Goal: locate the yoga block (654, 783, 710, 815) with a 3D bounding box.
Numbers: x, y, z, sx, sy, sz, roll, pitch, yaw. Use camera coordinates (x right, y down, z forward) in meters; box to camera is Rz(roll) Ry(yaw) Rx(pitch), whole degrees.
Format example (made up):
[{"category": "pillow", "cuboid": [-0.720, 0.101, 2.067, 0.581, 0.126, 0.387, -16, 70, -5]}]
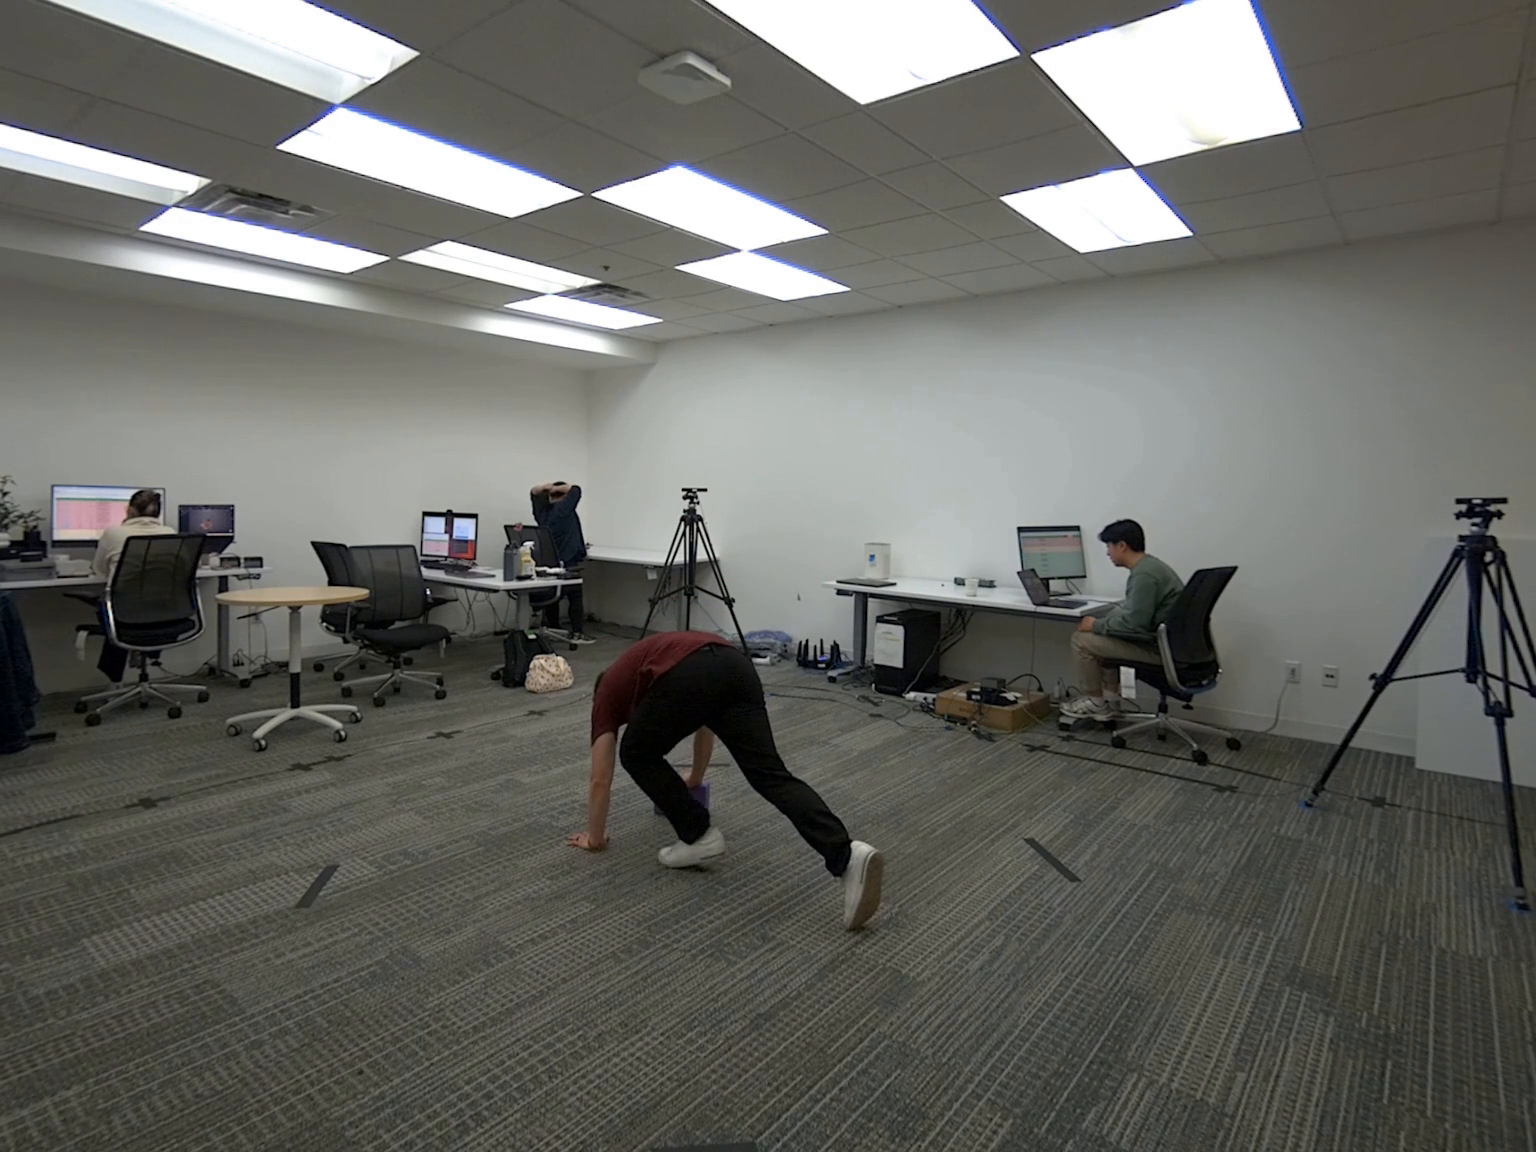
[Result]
[{"category": "yoga block", "cuboid": [-0.378, 0.937, 3.622, 0.233, 0.148, 0.075, 3, 4, 13]}]
